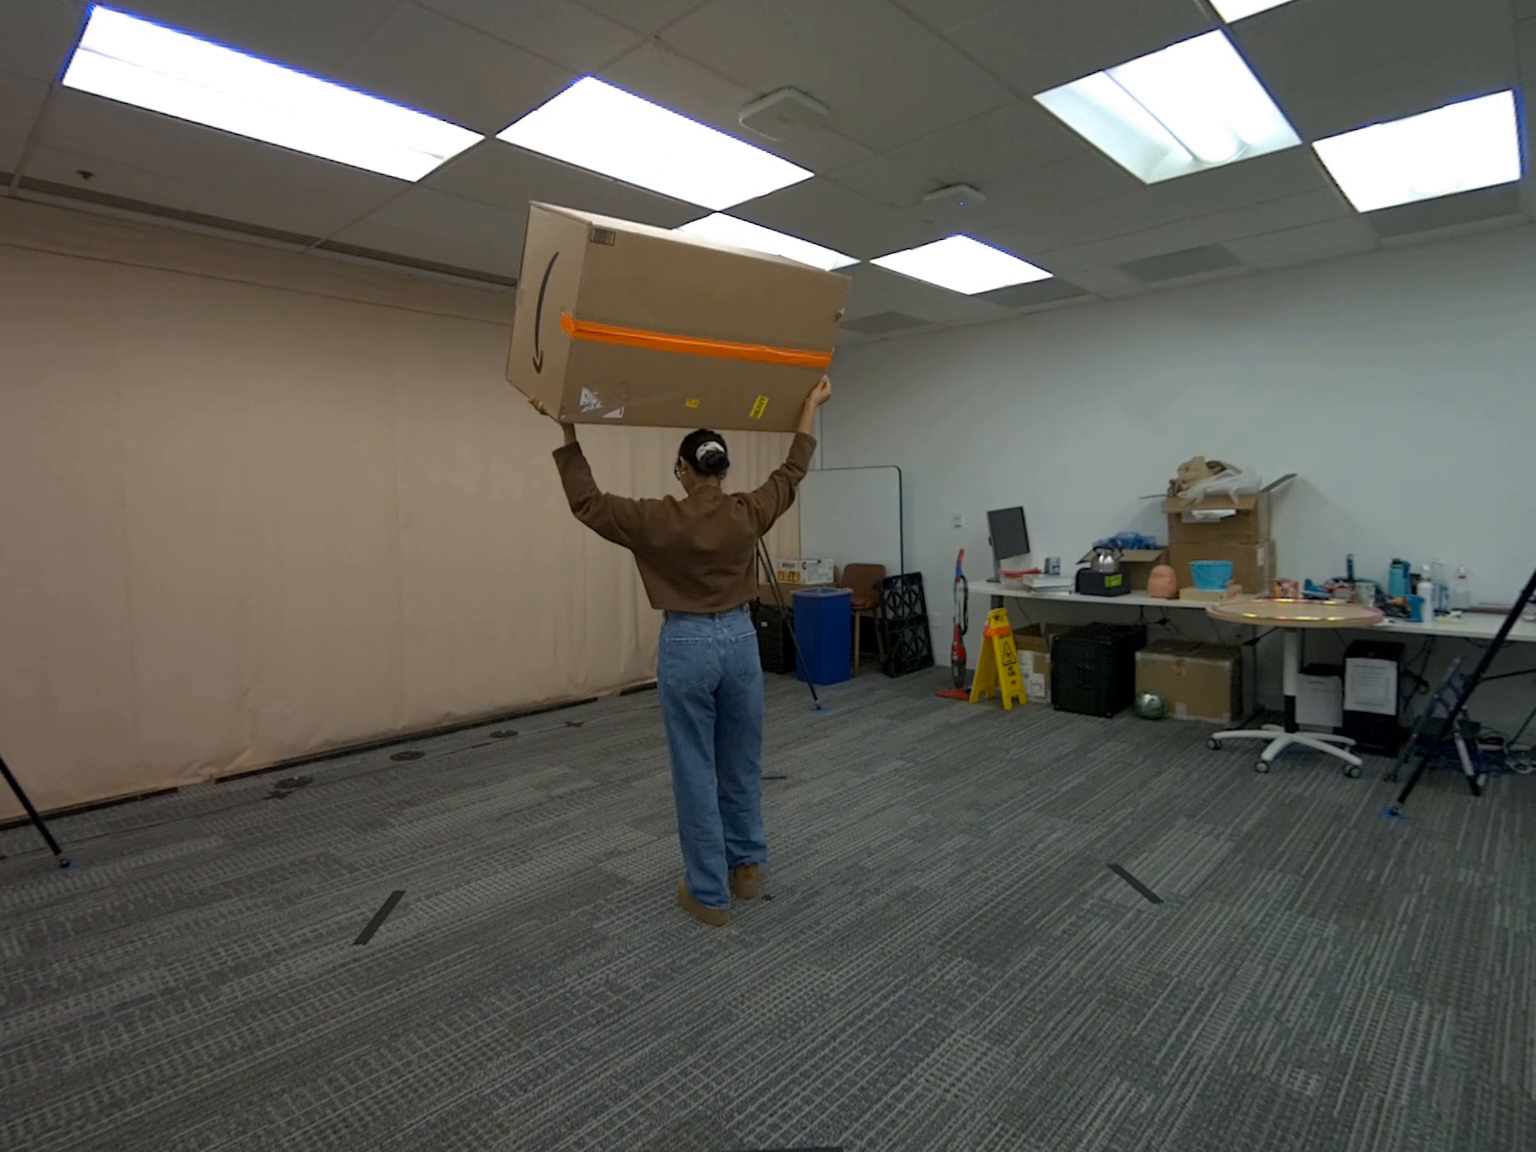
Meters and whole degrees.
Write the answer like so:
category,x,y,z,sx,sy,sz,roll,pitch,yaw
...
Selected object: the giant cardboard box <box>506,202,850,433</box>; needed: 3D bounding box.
category,x,y,z,sx,sy,sz,roll,pitch,yaw
giant cardboard box,-0.285,-0.837,2.859,0.996,0.573,0.442,-4,31,-38
